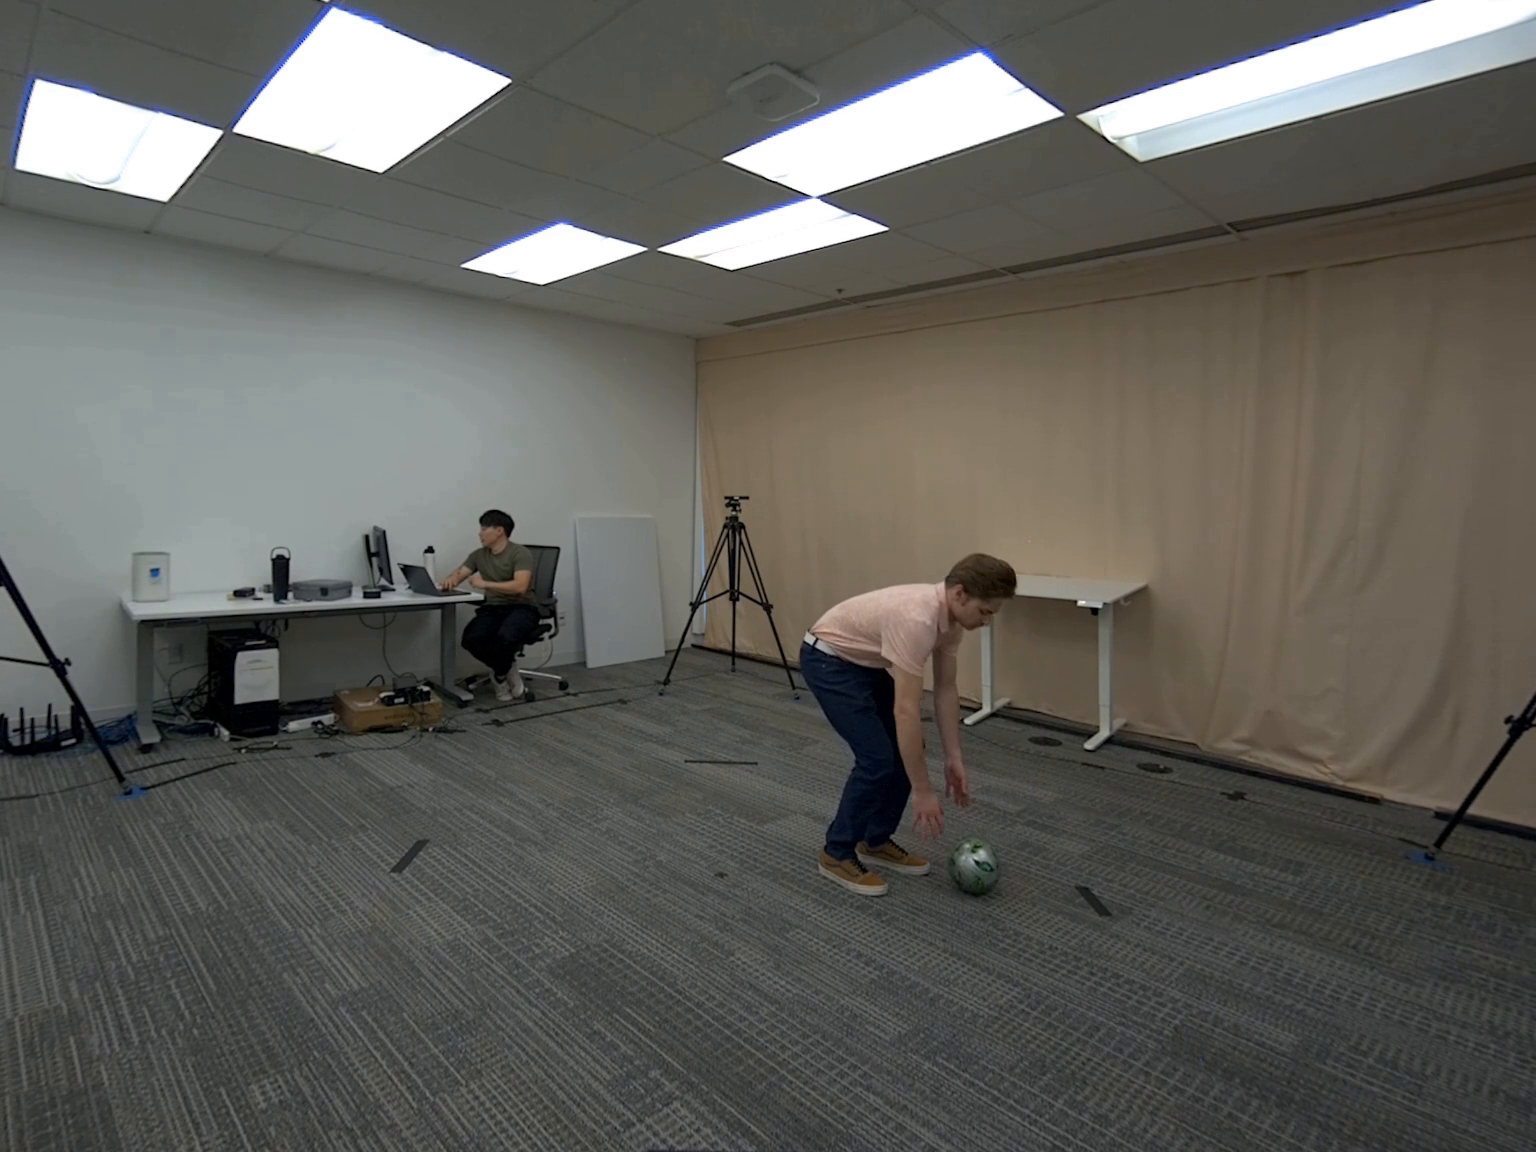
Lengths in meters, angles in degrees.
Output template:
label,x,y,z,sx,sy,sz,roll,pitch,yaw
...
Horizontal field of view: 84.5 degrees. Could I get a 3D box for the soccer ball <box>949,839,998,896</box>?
label,x,y,z,sx,sy,sz,roll,pitch,yaw
soccer ball,0.729,1.038,3.022,0.187,0.187,0.188,1,4,-1
